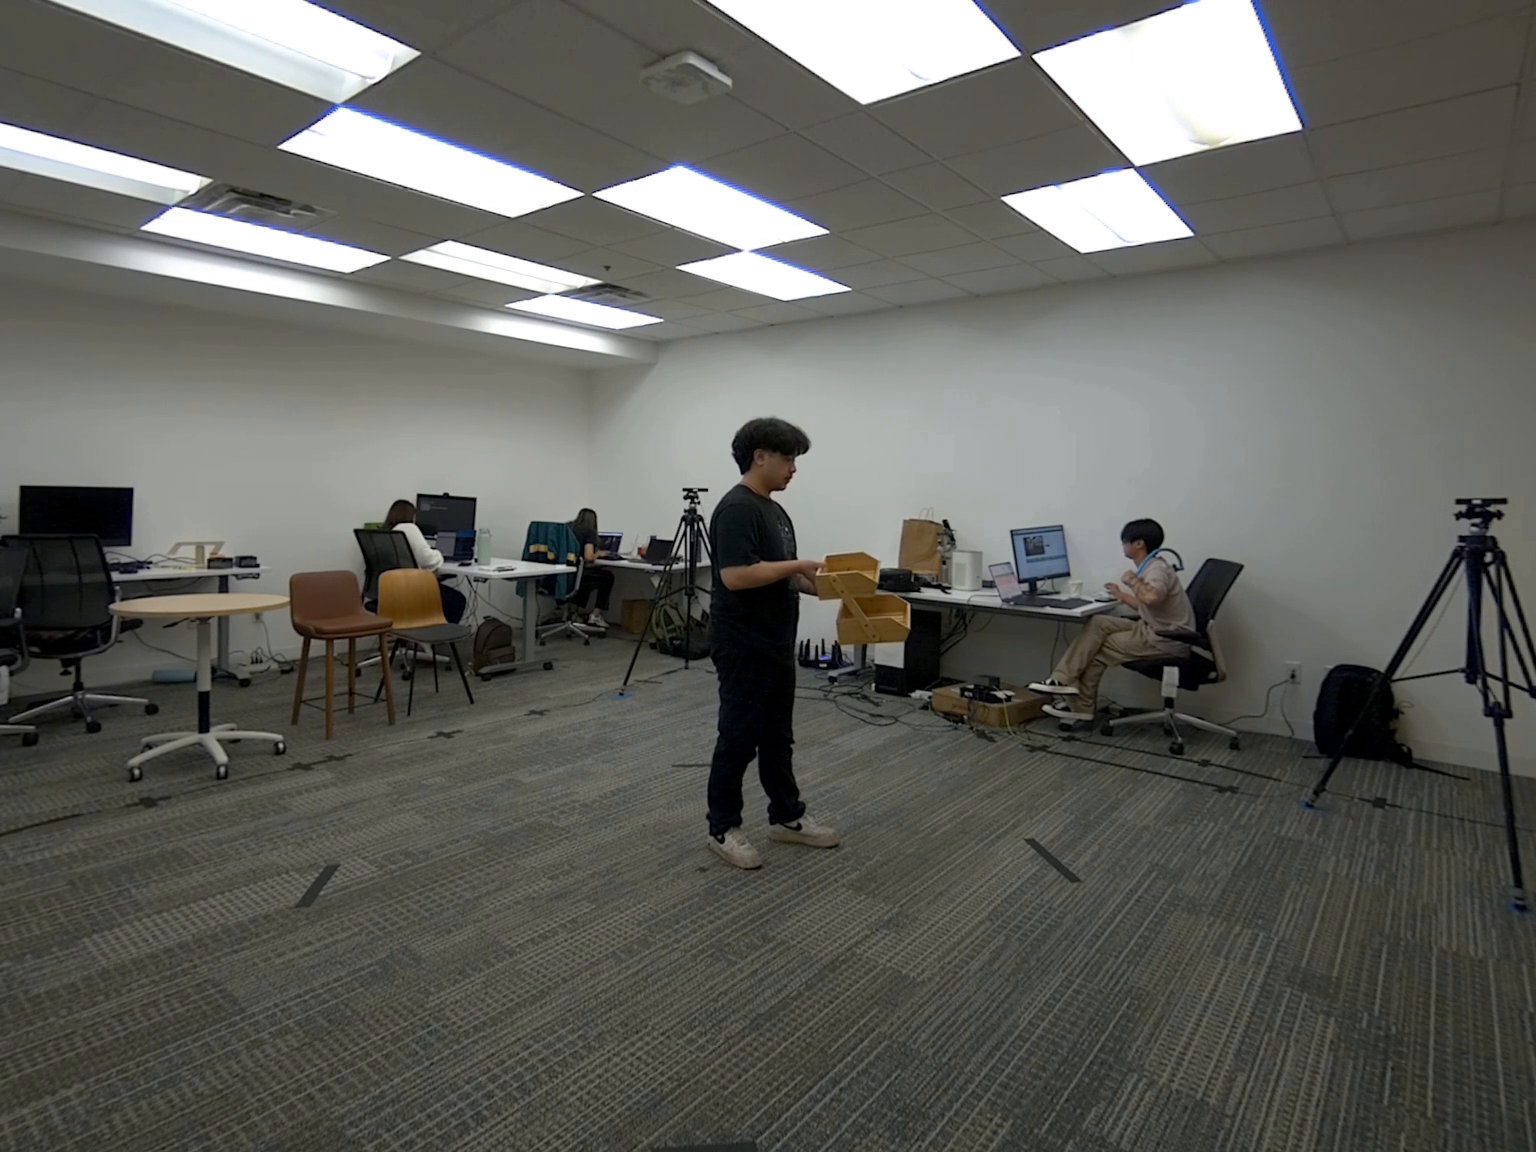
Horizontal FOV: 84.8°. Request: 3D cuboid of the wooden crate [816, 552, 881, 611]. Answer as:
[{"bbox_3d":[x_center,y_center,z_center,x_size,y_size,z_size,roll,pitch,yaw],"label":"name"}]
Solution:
[{"bbox_3d":[0.360,0.065,3.076,0.305,0.270,0.325,-5,13,11],"label":"wooden crate"}]
